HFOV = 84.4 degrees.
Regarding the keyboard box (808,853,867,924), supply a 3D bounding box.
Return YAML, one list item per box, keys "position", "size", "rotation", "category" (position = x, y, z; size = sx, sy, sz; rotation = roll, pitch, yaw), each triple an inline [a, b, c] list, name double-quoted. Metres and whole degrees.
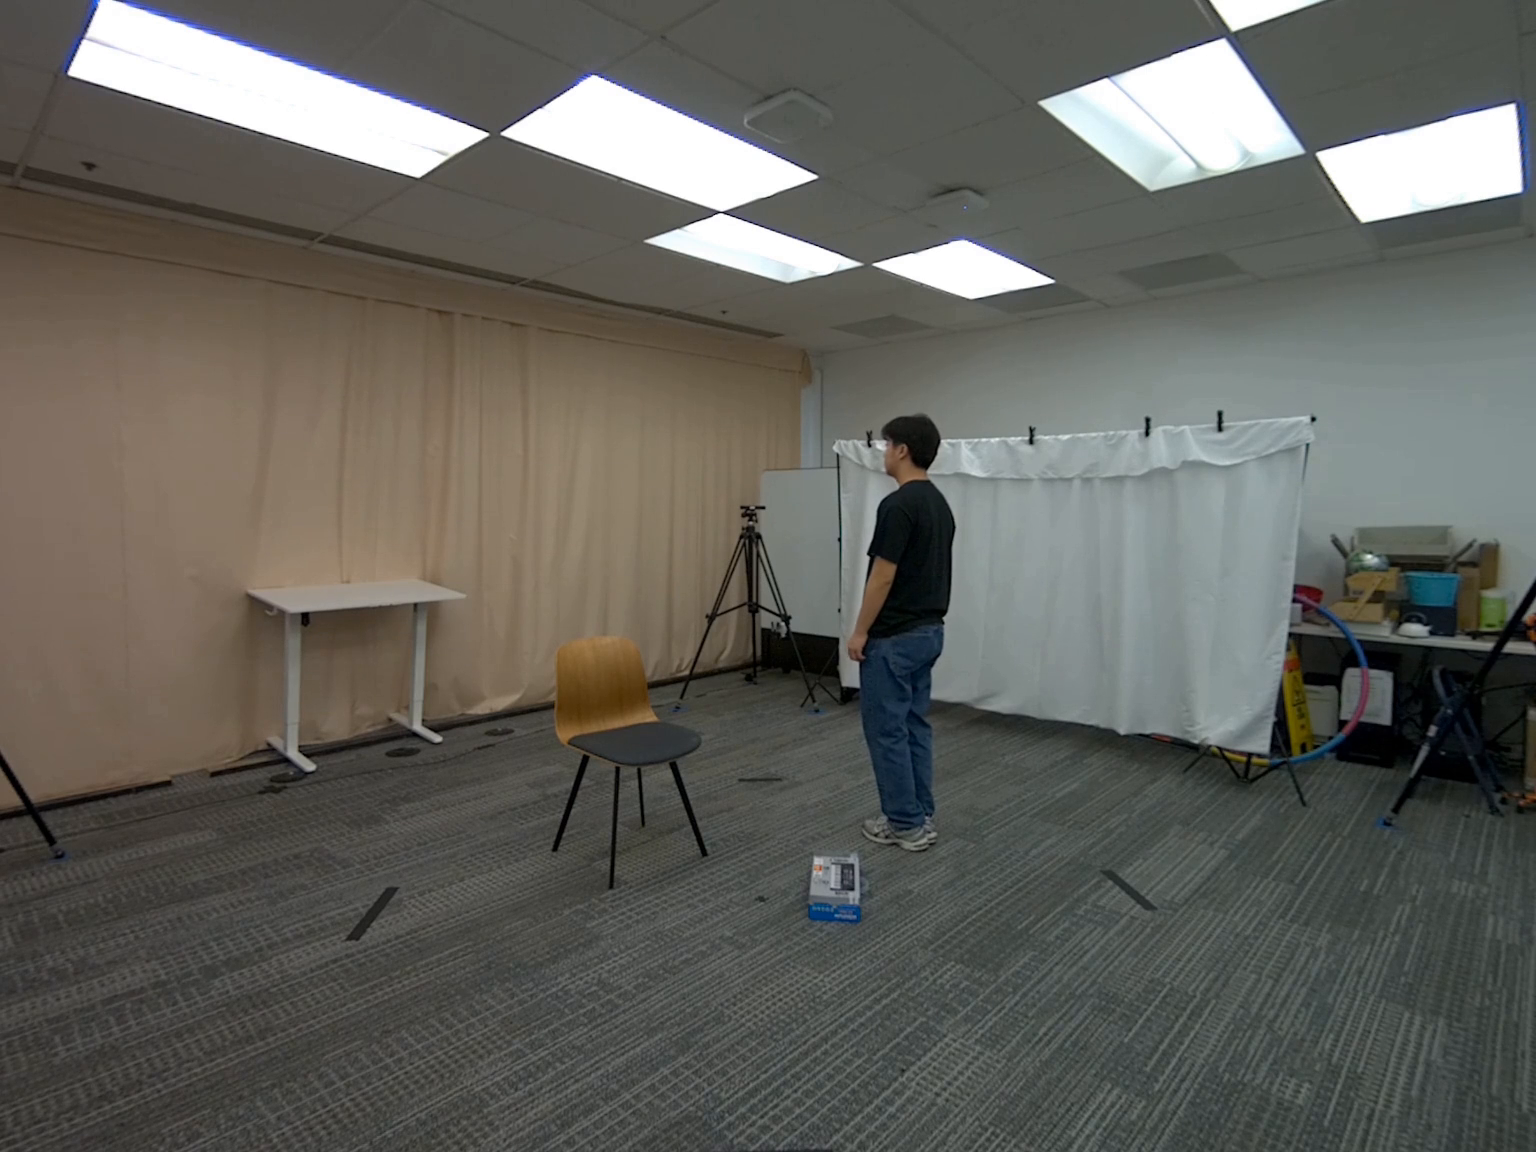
- position: [0.247, 1.110, 3.033]
  size: [0.177, 0.059, 0.434]
  rotation: [0, 5, 6]
  category: "keyboard box"
